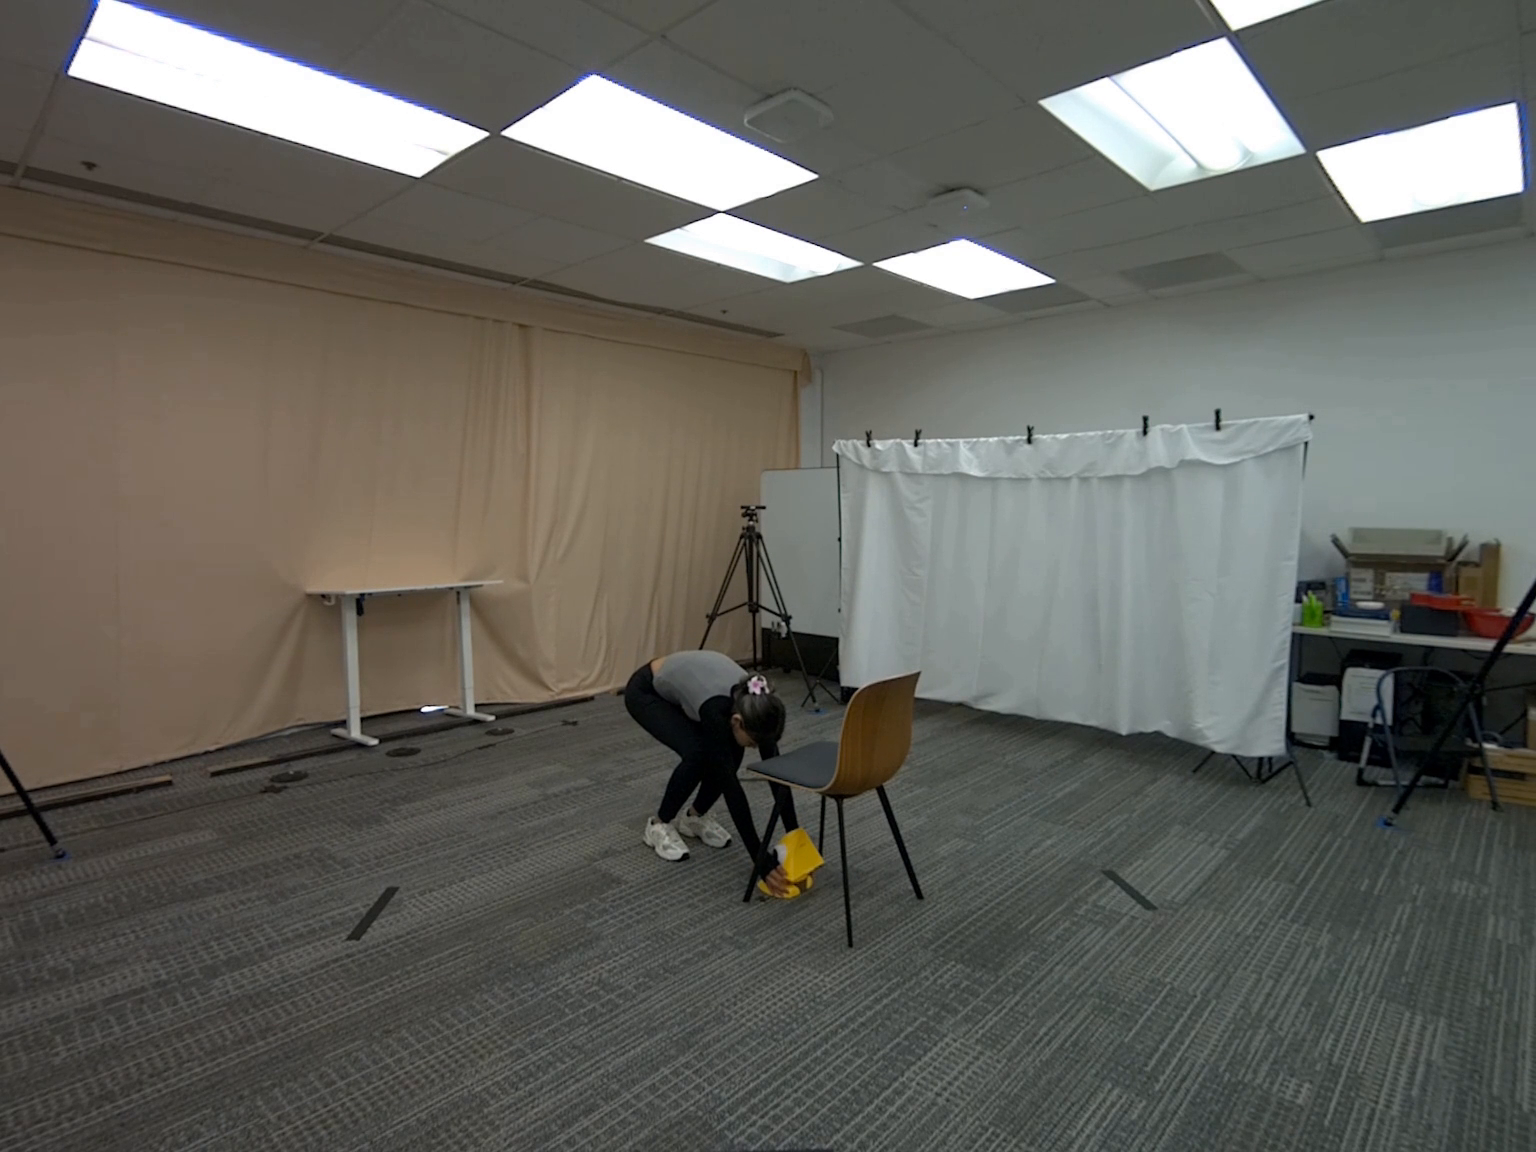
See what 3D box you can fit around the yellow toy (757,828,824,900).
[{"bbox_3d":[0.076,1.024,3.078,0.199,0.230,0.199,3,4,37],"label":"yellow toy"}]
